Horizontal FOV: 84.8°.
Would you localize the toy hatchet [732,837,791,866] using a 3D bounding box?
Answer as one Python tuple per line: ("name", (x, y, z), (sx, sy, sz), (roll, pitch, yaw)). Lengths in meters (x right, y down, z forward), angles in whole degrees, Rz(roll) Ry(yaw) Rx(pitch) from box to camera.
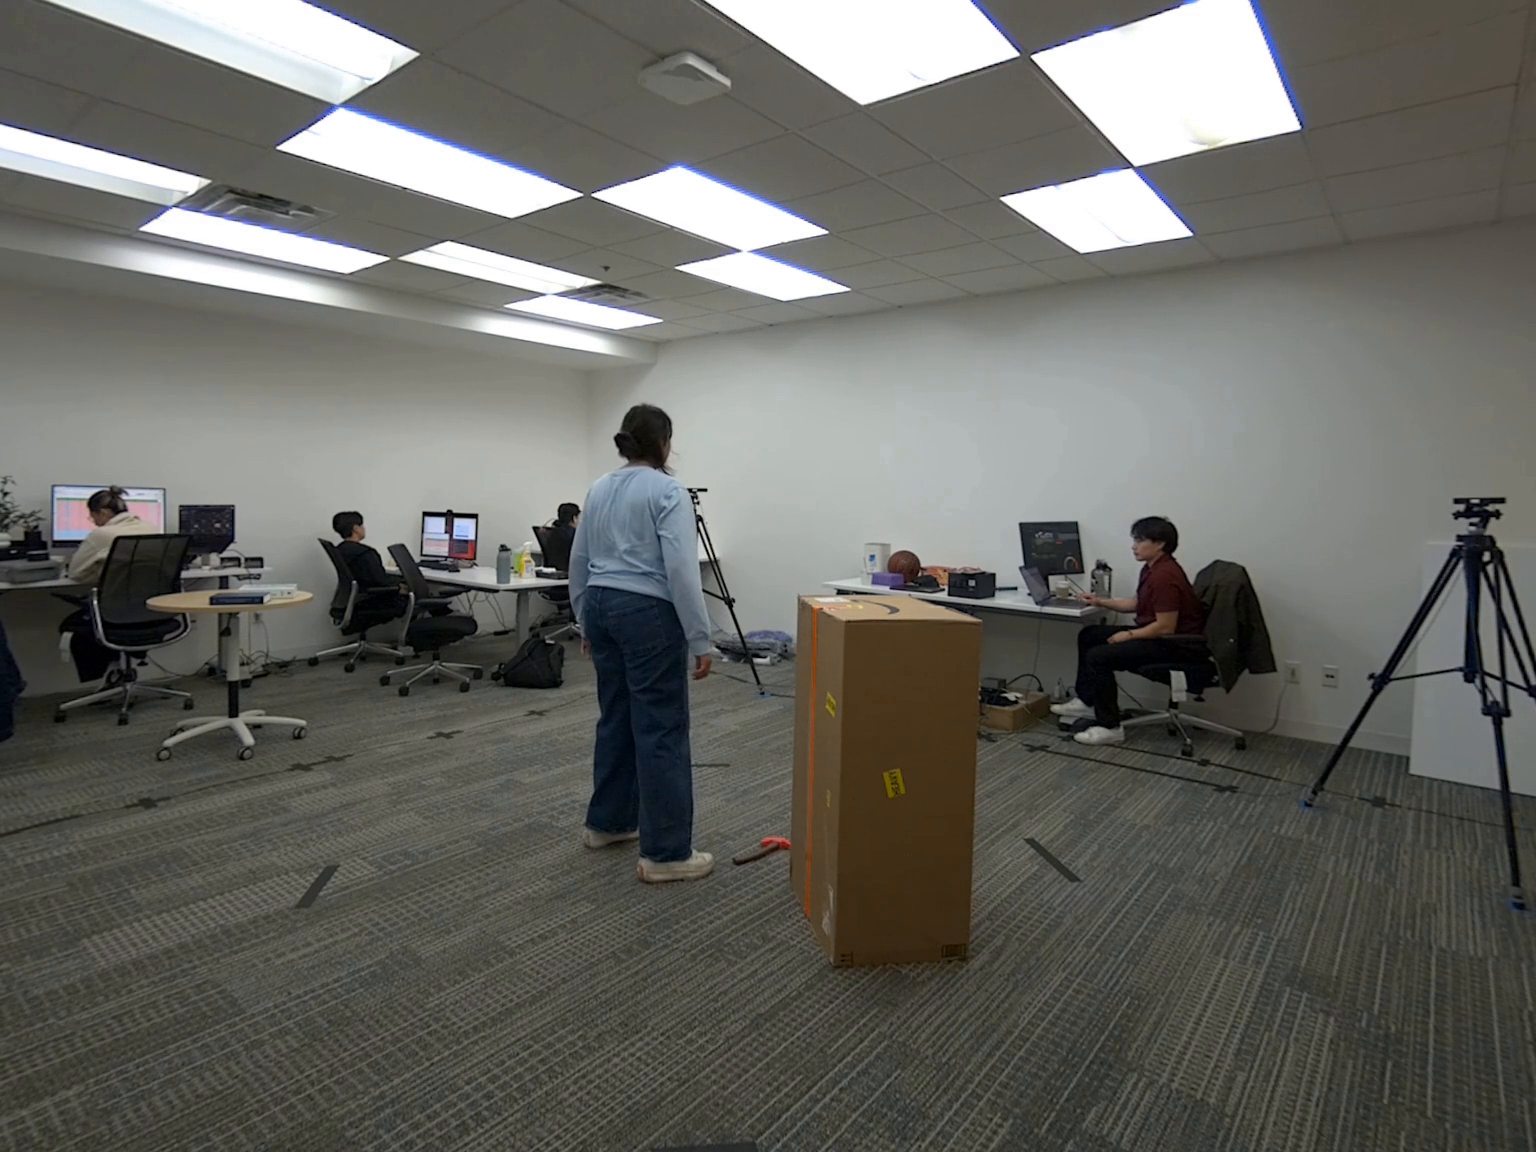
("toy hatchet", (-0.048, 1.044, 3.268), (0.263, 0.029, 0.135), (-6, 7, -35))
